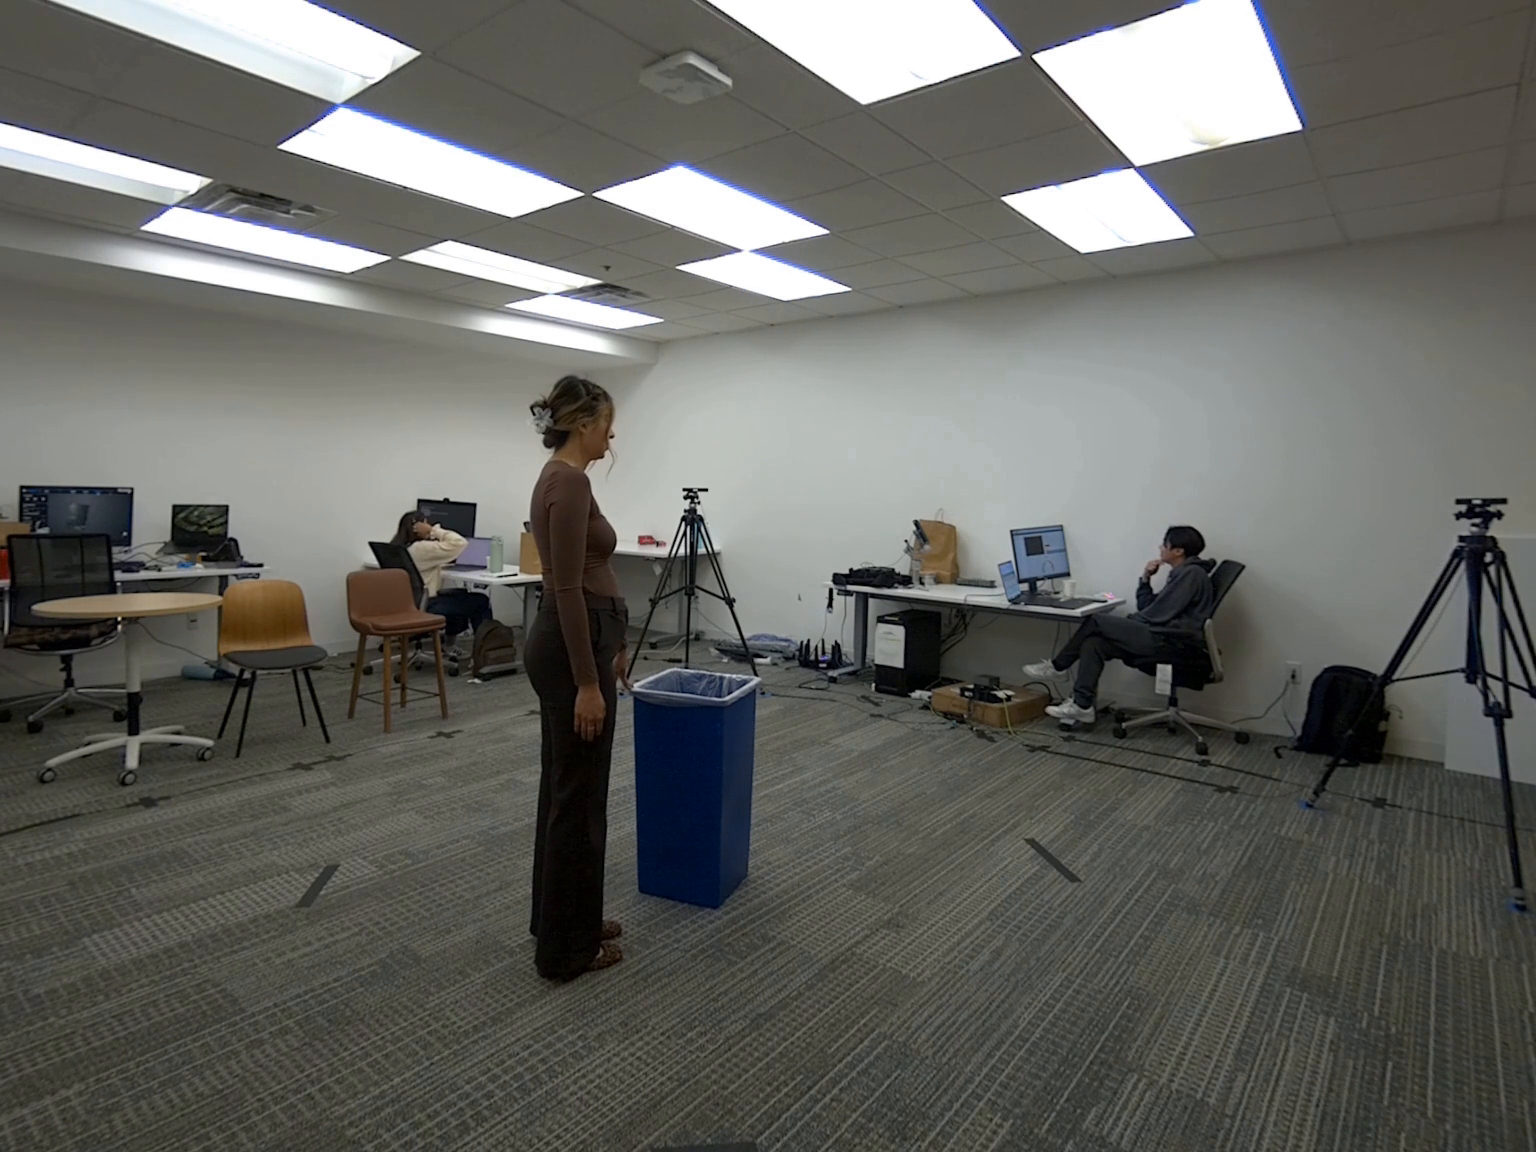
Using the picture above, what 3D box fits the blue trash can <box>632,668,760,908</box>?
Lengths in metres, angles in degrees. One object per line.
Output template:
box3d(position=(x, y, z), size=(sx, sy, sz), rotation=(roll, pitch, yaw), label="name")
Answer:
box3d(position=(-0.262, 0.722, 2.978), size=(0.387, 0.712, 0.366), rotation=(2, 3, 21), label="blue trash can")
